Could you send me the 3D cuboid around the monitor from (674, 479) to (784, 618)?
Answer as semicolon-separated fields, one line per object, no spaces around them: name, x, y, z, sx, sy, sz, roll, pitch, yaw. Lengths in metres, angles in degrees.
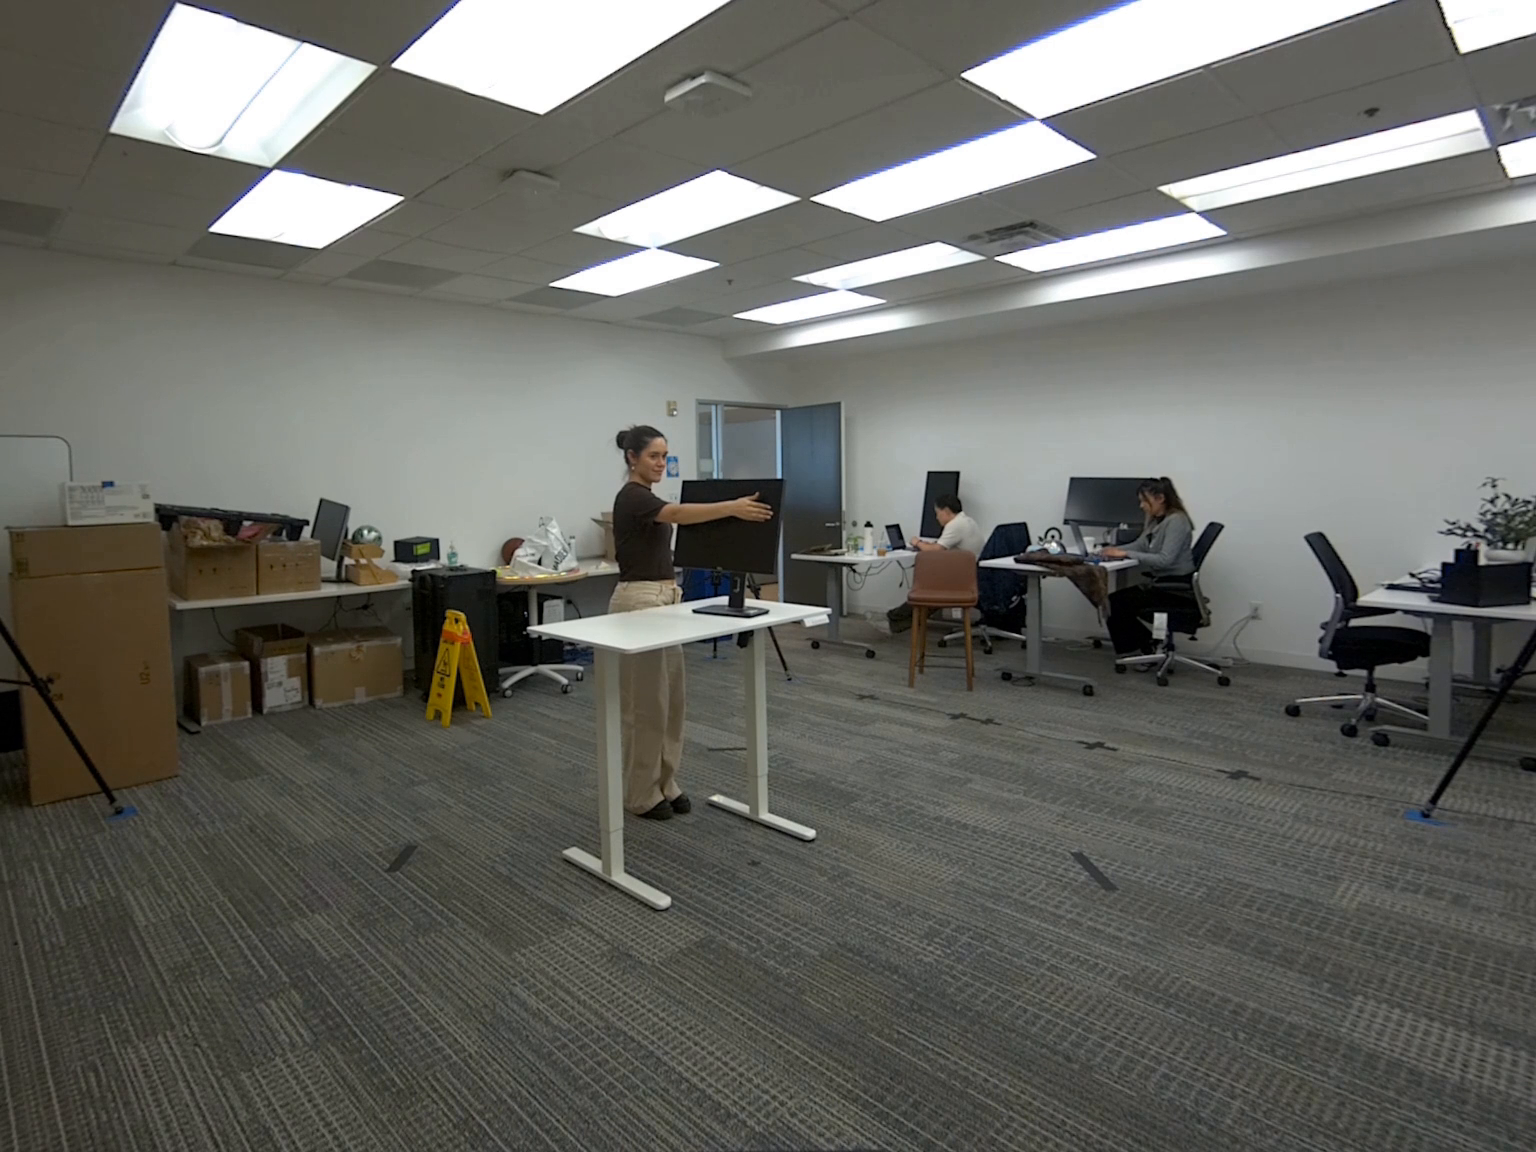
monitor;-0.137;-0.108;3.275;0.555;0.520;0.182;4;6;42
